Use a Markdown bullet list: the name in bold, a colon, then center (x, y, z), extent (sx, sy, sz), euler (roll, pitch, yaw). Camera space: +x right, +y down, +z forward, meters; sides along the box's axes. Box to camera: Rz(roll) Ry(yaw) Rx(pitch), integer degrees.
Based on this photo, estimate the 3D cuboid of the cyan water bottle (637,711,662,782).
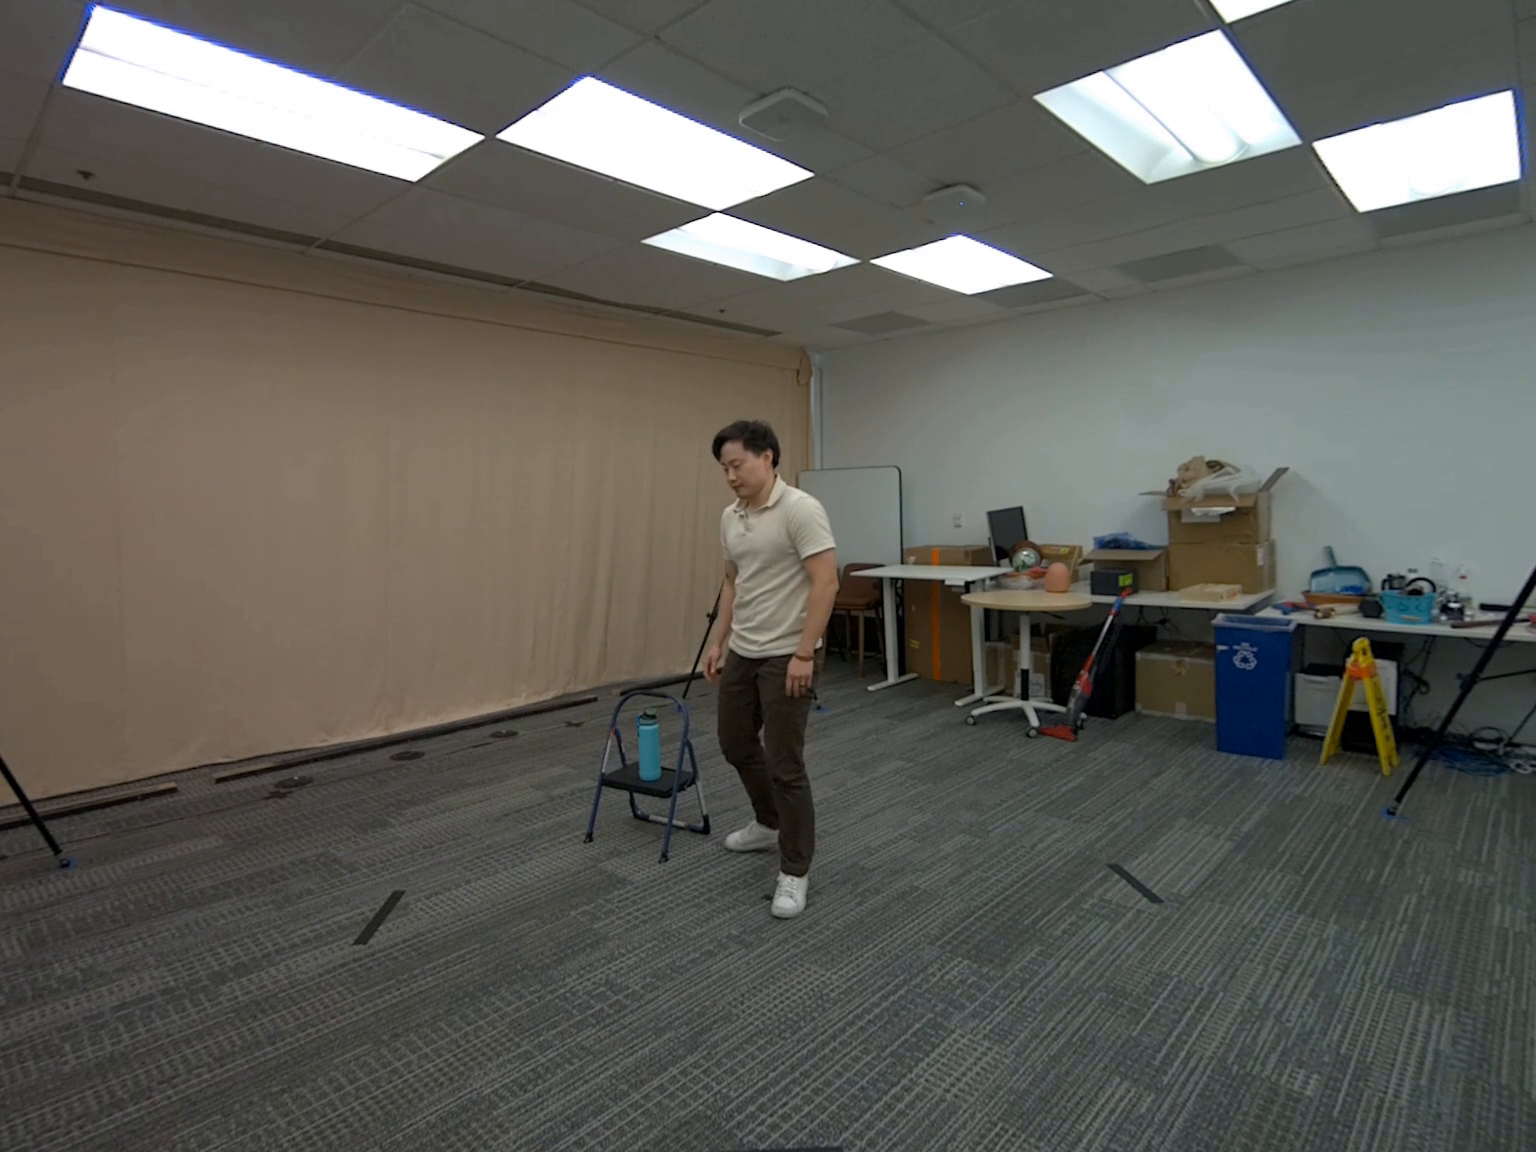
- **cyan water bottle**: center (-0.504, 0.707, 3.526), extent (0.092, 0.283, 0.092), euler (-4, 2, -2)
